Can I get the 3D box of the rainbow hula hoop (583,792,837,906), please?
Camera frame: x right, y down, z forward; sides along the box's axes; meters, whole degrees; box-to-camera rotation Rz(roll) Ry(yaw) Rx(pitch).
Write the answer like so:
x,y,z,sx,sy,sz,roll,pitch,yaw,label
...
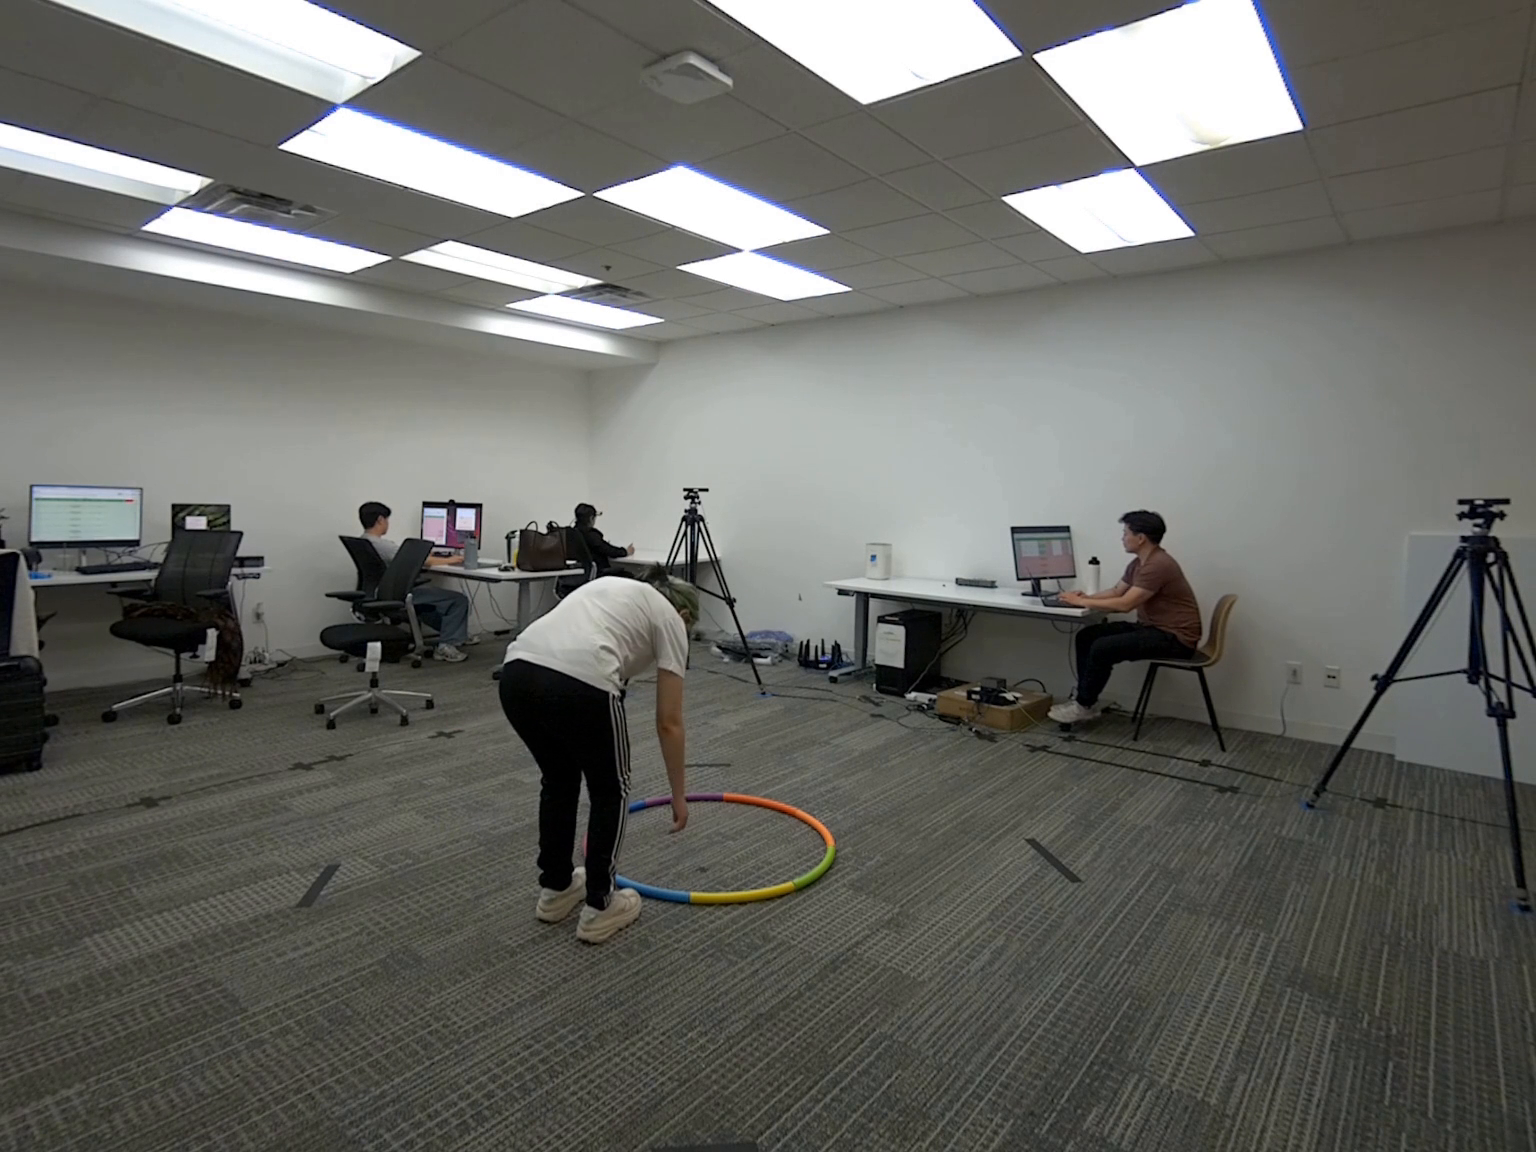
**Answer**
x,y,z,sx,sy,sz,roll,pitch,yaw,label
-0.234,1.018,3.319,0.978,0.035,0.984,1,5,-2,rainbow hula hoop
